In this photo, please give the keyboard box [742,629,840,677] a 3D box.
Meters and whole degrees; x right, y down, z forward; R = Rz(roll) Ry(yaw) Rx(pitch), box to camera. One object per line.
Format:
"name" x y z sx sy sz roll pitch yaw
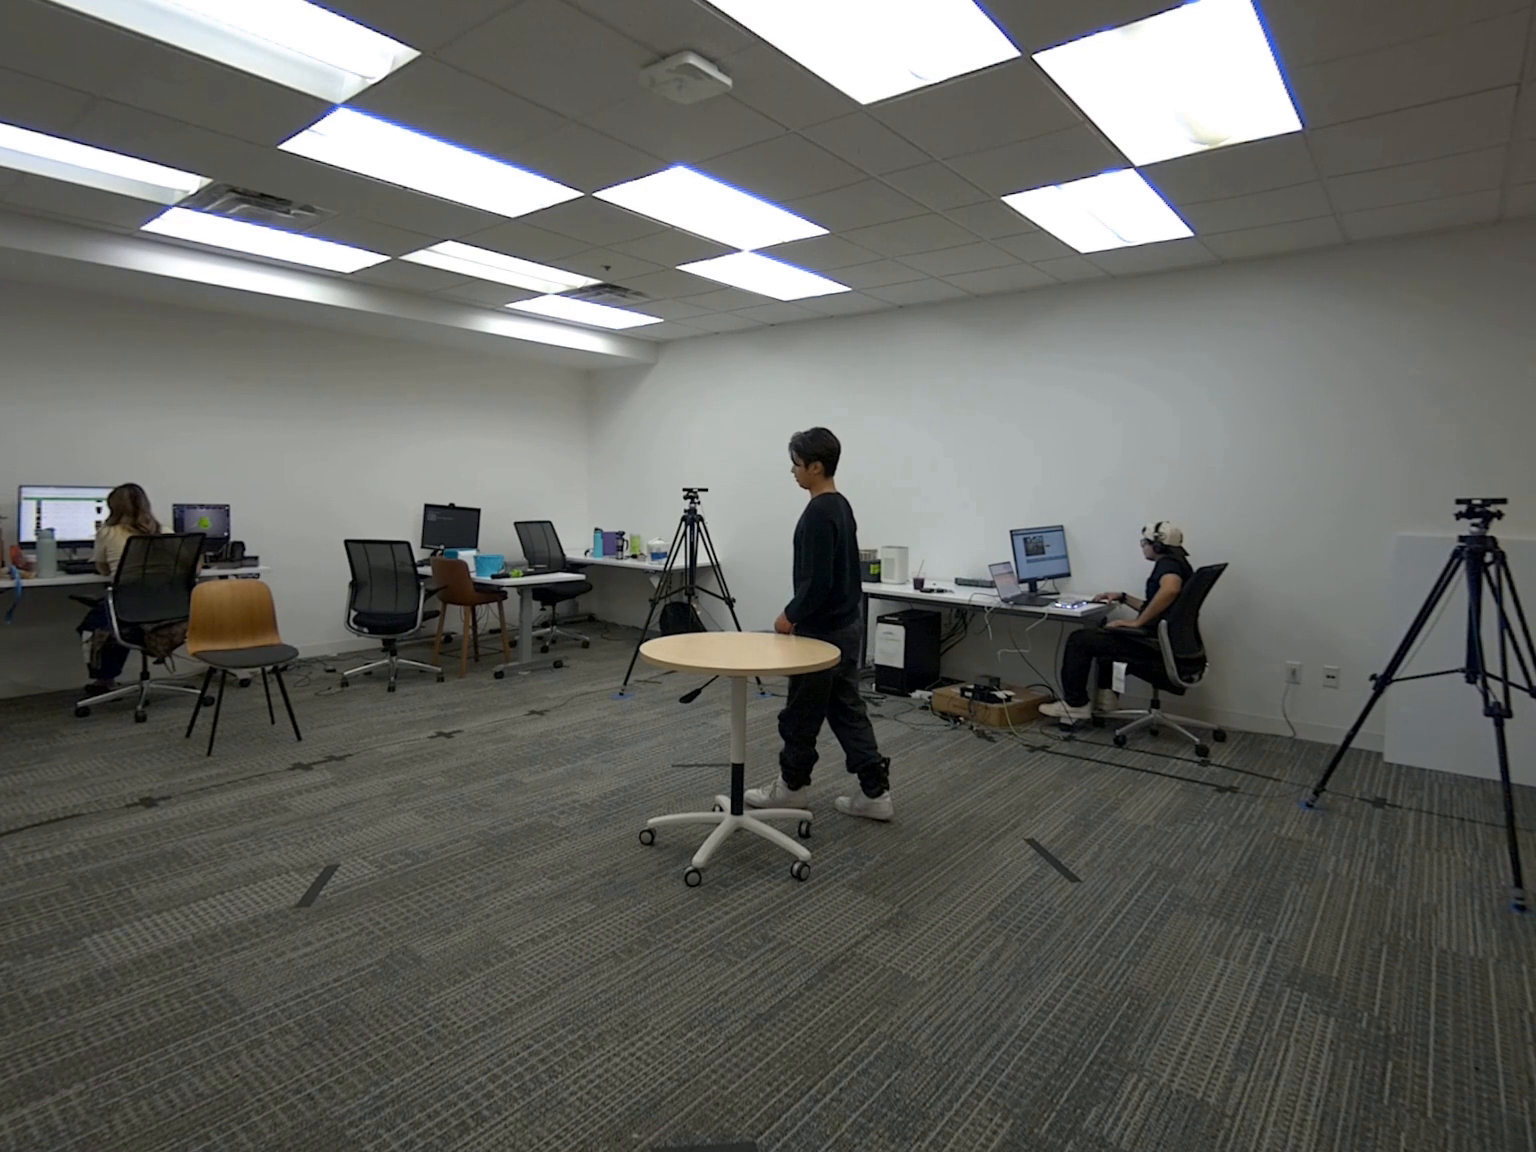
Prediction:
"keyboard box" 0.108 0.371 3.929 0.435 0.175 0.059 9 5 -3
